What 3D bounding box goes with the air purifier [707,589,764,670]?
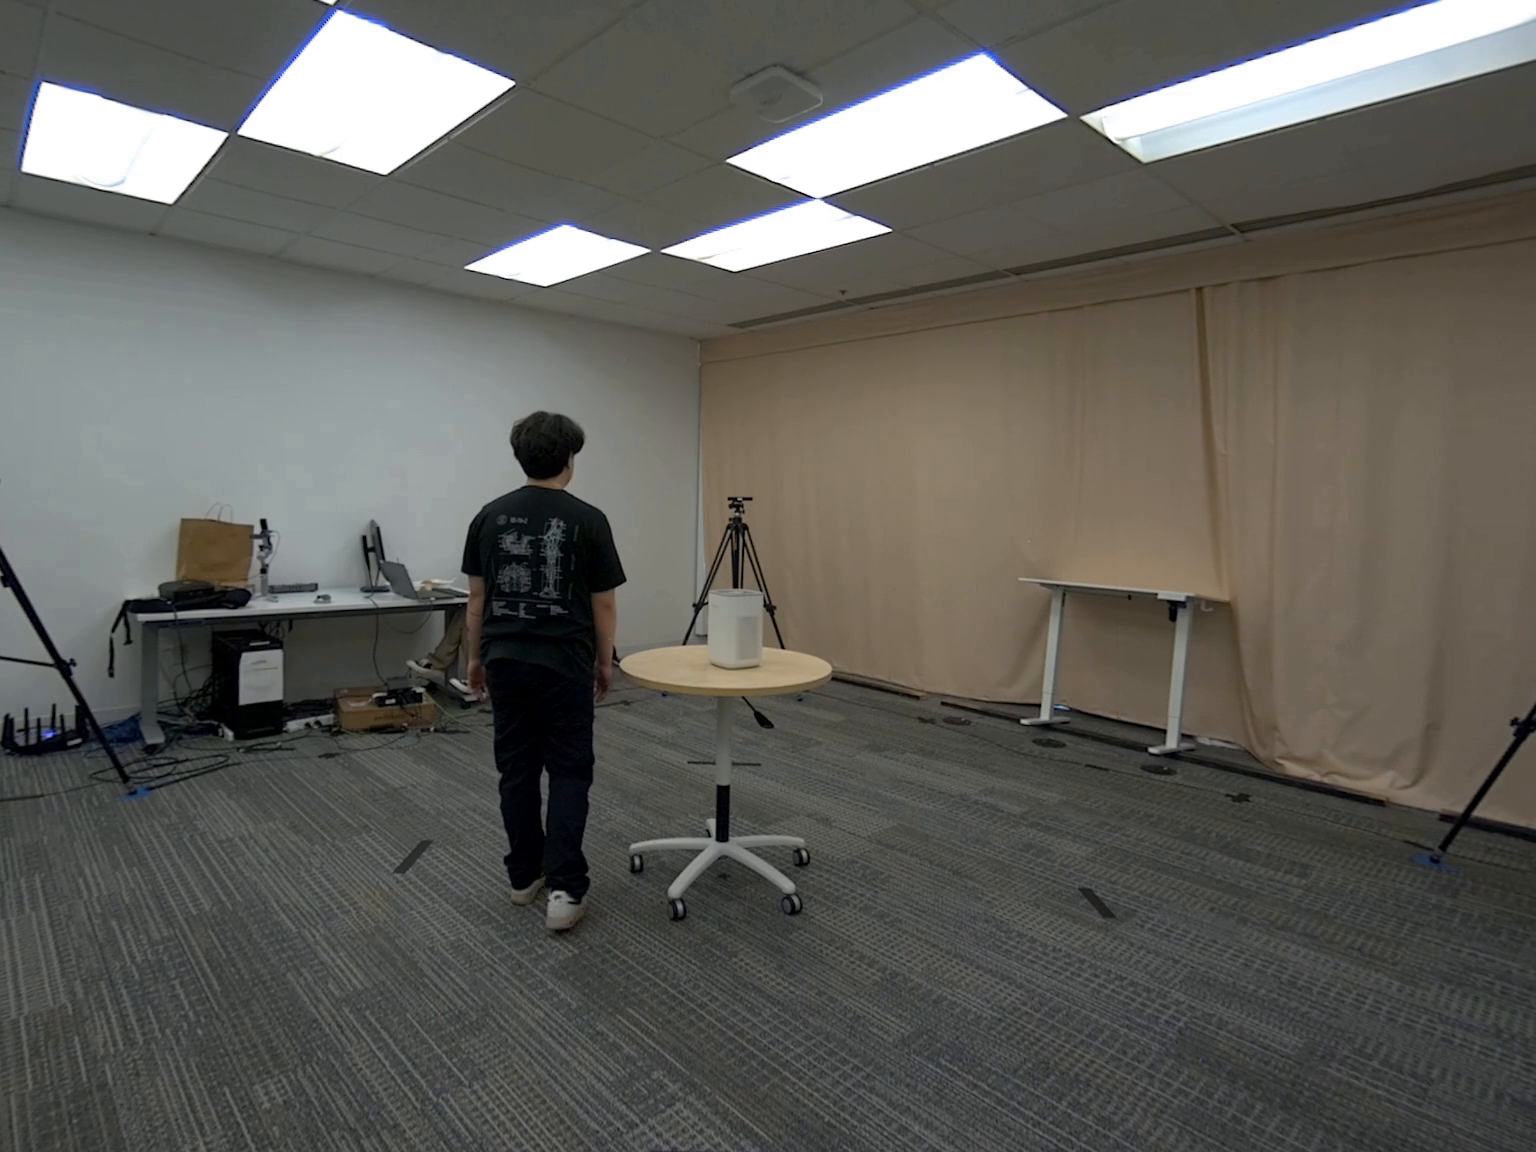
[{"bbox_3d":[-0.124,0.189,3.024,0.168,0.265,0.175,-2,4,-36],"label":"air purifier"}]
